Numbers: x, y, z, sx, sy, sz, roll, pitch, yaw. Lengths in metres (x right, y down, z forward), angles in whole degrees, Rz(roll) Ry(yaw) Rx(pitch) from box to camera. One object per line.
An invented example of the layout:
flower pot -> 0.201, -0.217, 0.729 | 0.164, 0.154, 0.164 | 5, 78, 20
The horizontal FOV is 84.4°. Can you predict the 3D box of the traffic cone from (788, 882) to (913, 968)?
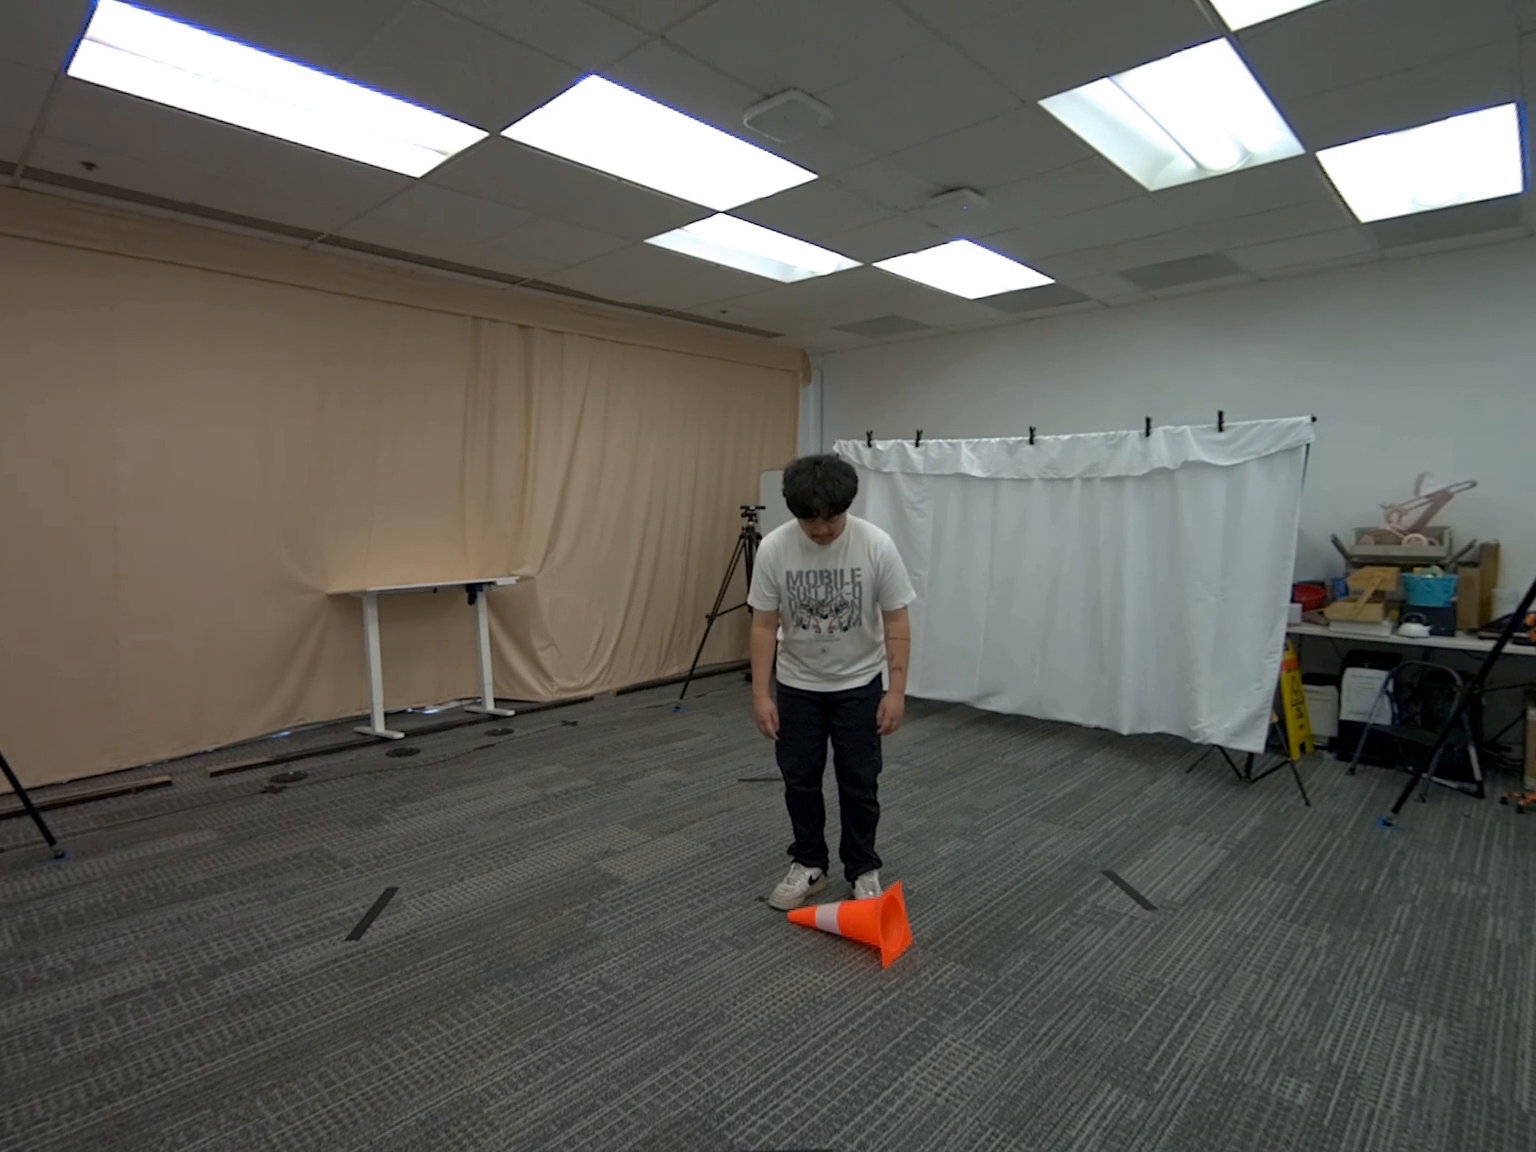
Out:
traffic cone -> 0.232, 1.112, 2.718 | 0.393, 0.204, 0.199 | -13, -5, 33
